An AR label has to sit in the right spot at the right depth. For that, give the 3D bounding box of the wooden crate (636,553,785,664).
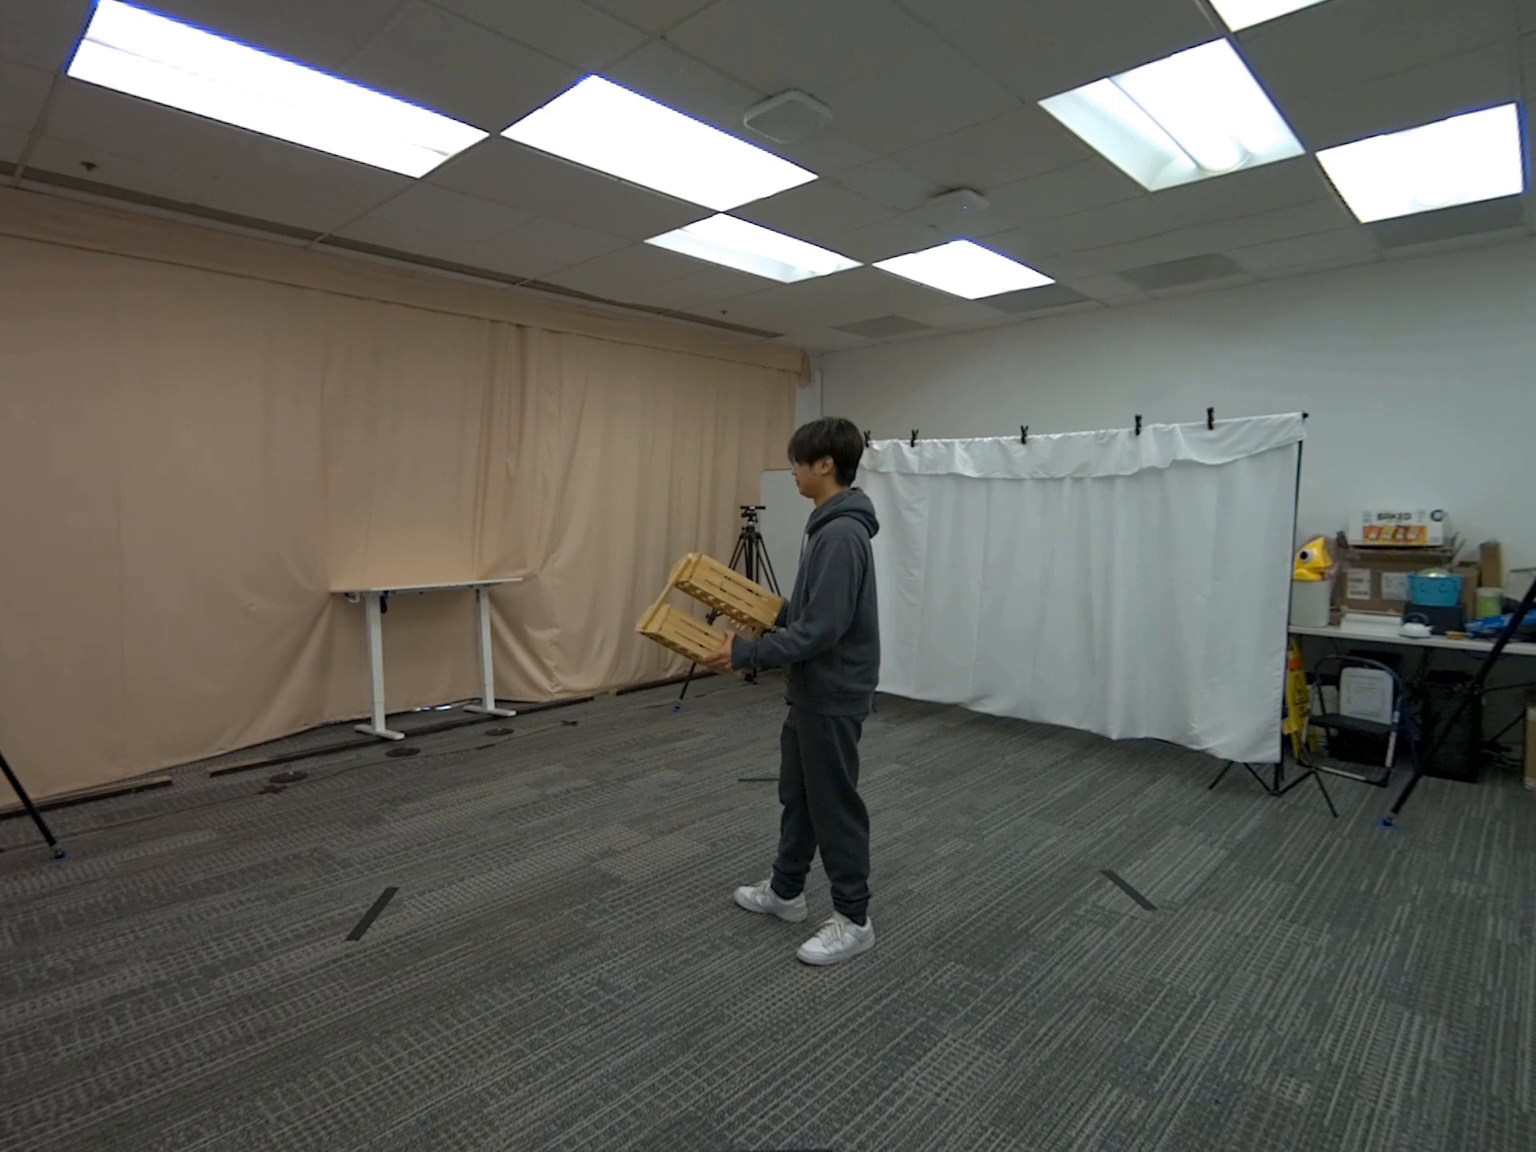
[{"bbox_3d":[-0.186,0.118,2.590,0.317,0.274,0.308,29,-13,-20],"label":"wooden crate"}]
